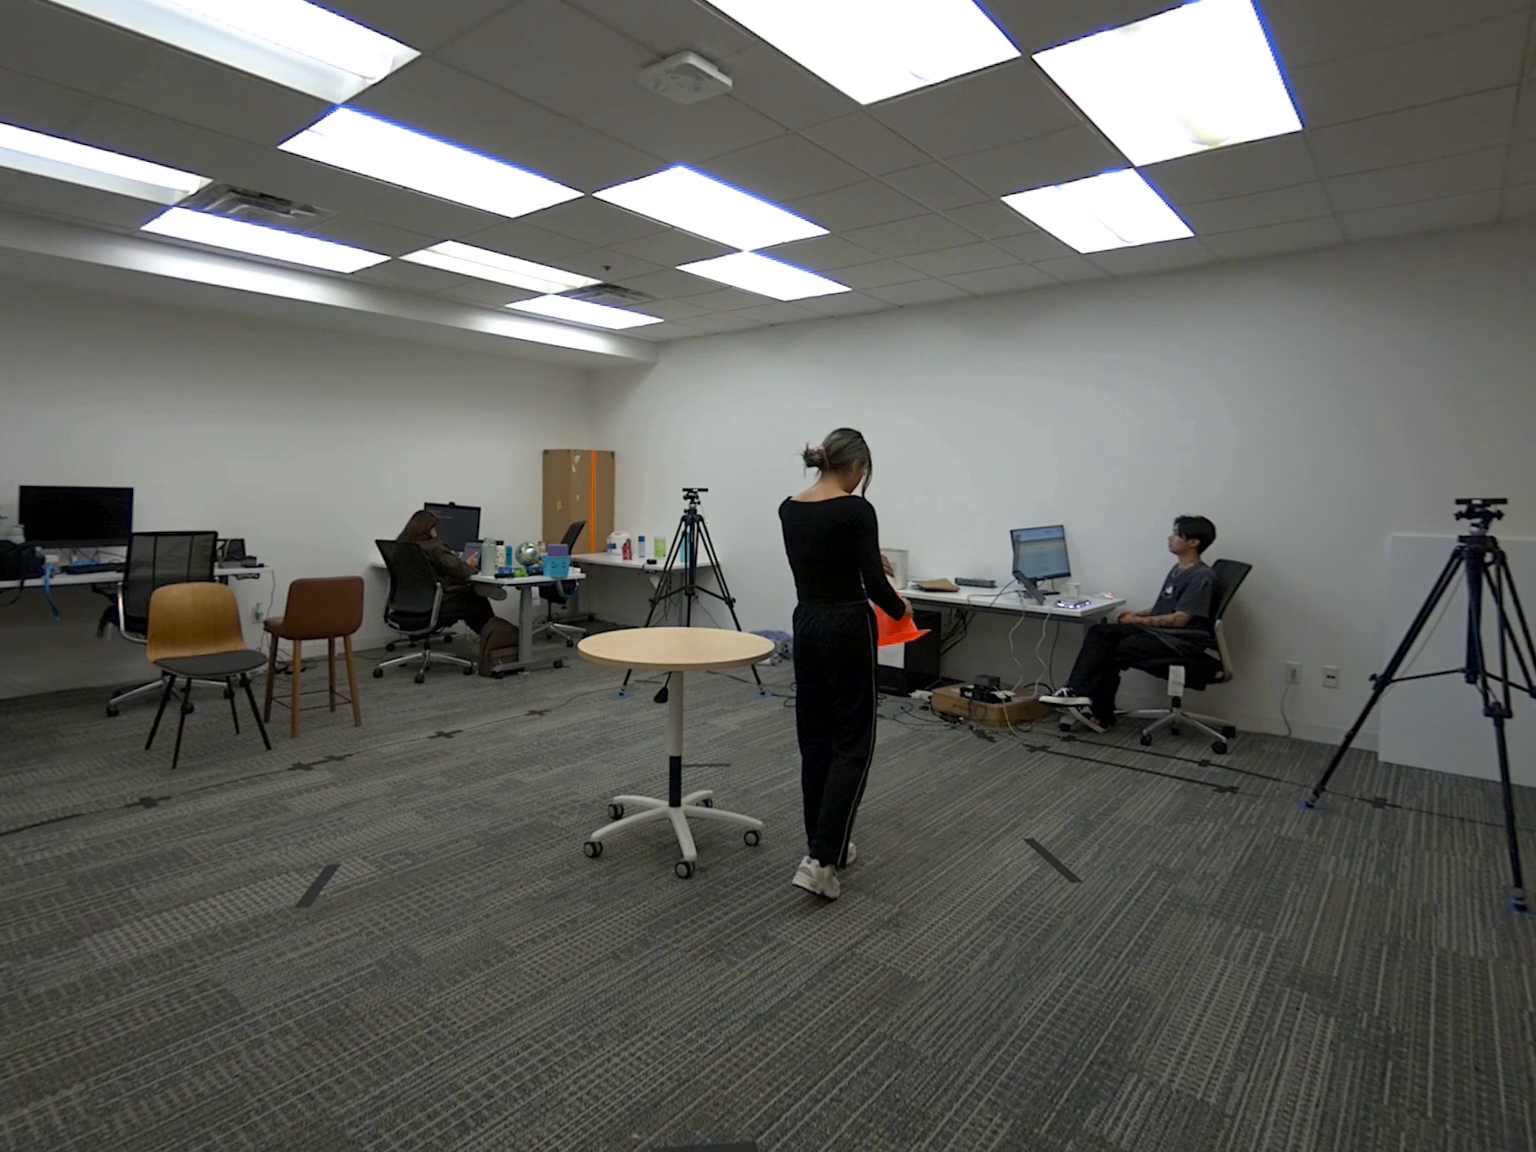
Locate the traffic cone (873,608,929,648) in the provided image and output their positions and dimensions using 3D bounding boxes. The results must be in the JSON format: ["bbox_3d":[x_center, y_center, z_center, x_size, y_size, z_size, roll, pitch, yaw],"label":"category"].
[{"bbox_3d":[0.443,0.064,3.297,0.203,0.392,0.201,-7,-19,-11],"label":"traffic cone"}]
